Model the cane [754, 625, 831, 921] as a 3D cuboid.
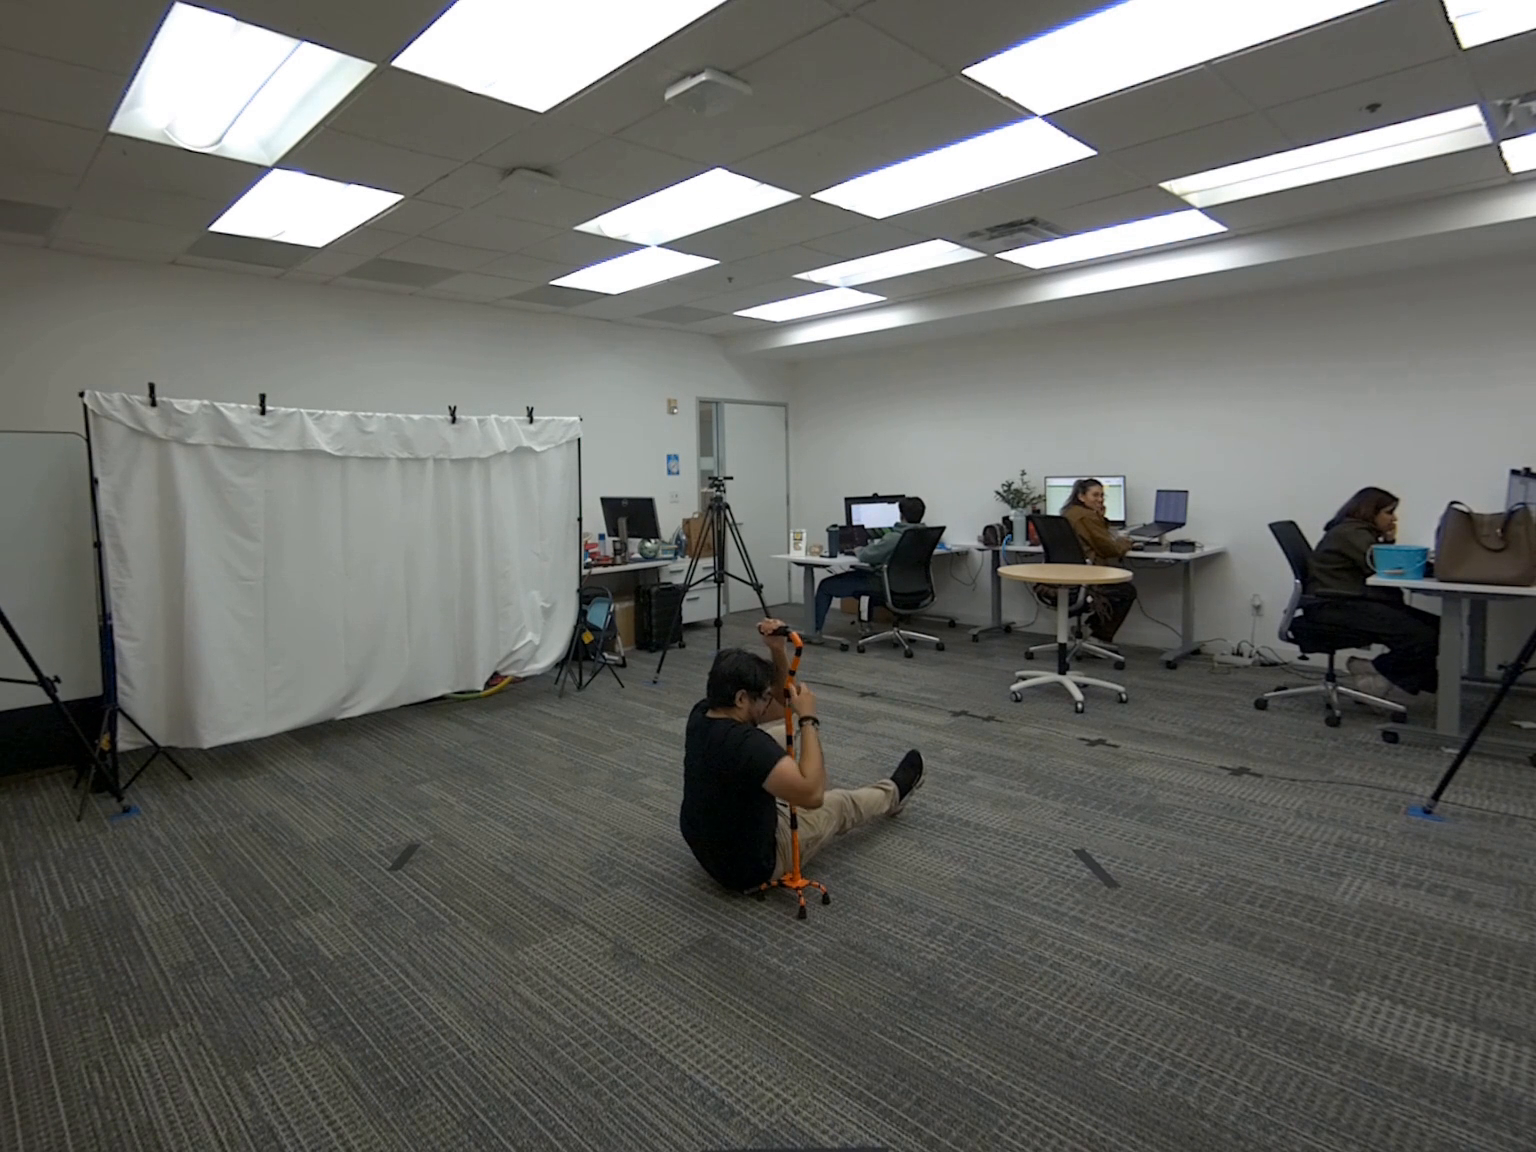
[{"bbox_3d":[0.064,0.609,2.779,0.212,0.905,0.147,0,4,44],"label":"cane"}]
